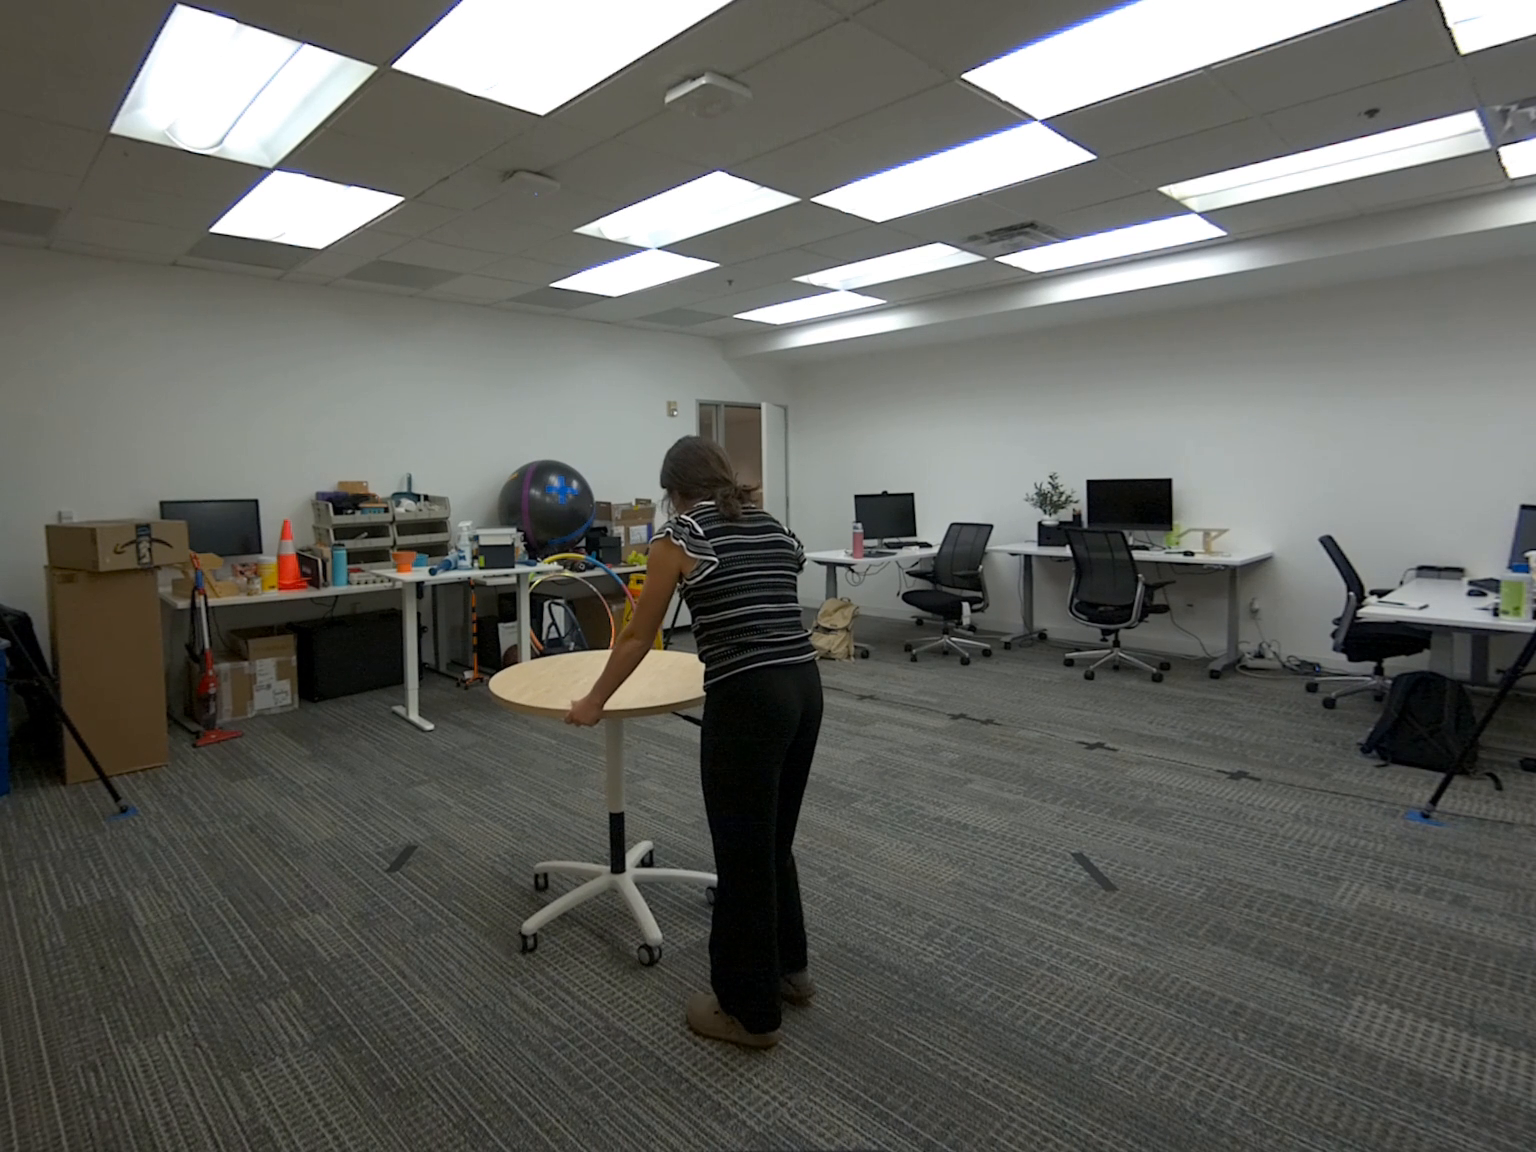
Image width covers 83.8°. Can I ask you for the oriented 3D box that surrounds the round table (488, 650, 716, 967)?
[{"bbox_3d":[-0.487,0.706,2.753,0.763,0.790,0.769,-1,6,-2],"label":"round table"}]
